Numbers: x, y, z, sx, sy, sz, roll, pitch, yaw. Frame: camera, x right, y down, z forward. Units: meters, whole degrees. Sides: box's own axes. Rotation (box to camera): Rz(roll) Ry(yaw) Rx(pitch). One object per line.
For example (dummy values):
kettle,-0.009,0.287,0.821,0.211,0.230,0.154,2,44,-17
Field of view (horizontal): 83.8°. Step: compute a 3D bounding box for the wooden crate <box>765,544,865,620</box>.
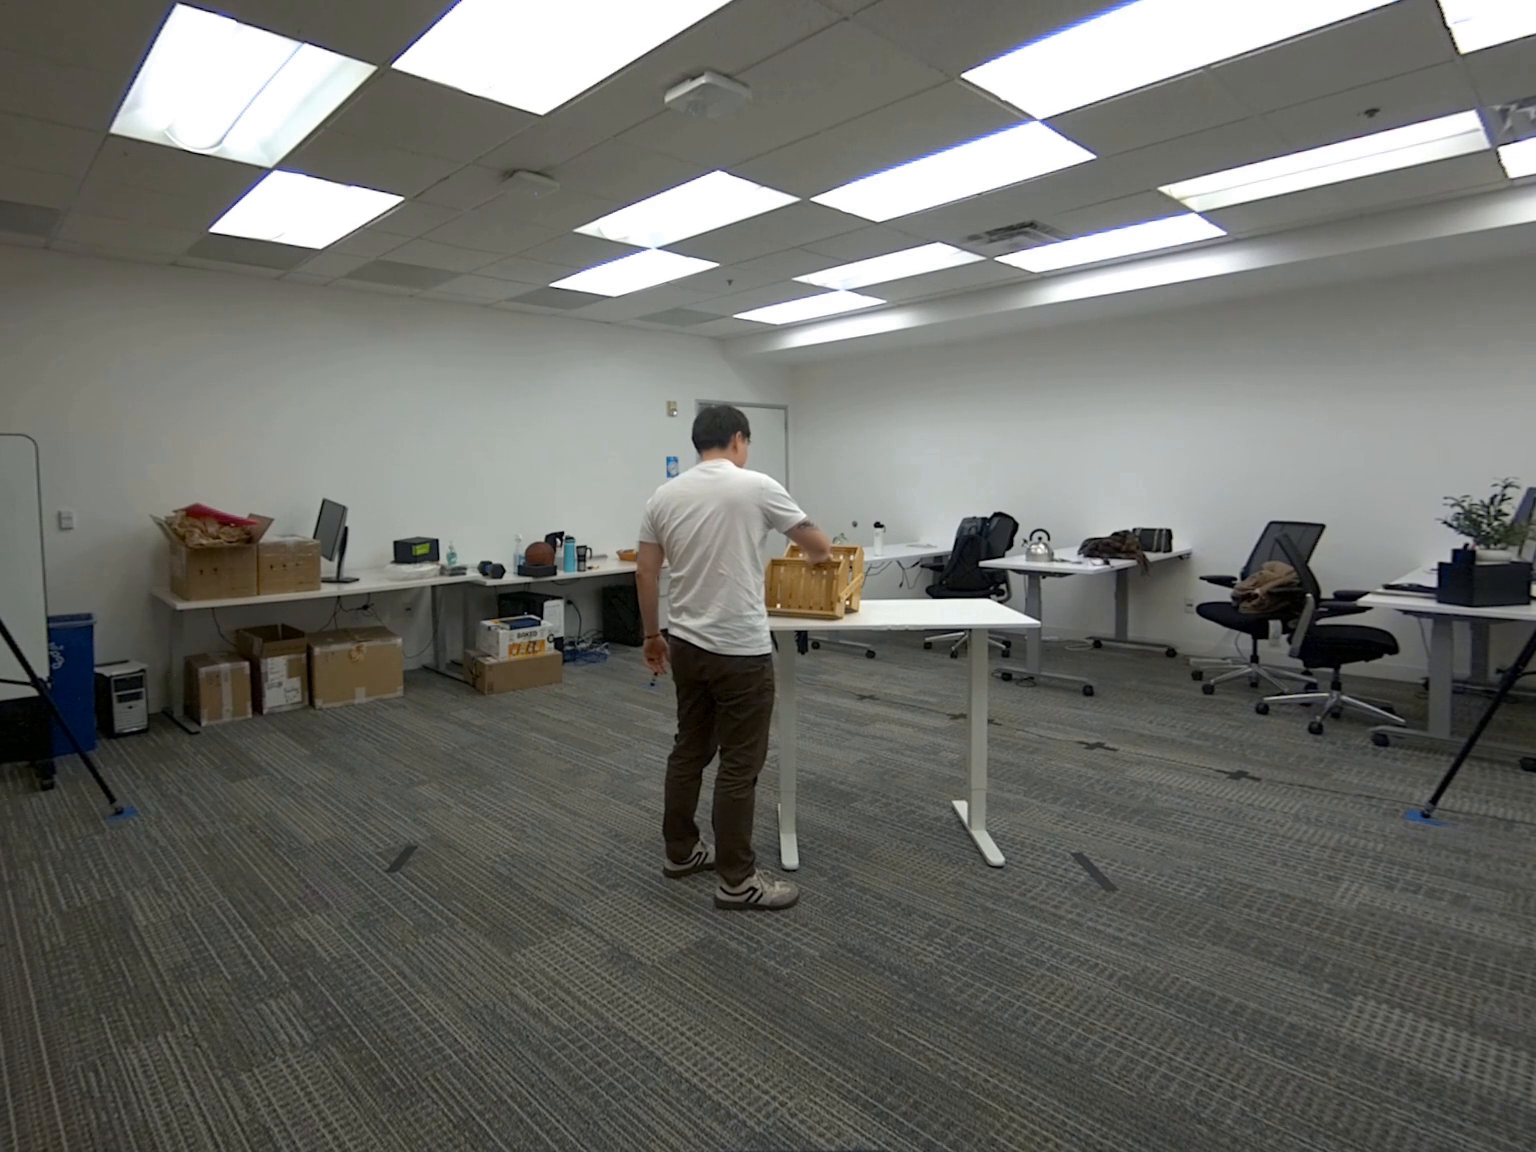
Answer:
wooden crate,0.174,0.007,3.249,0.332,0.305,0.264,1,-12,26
